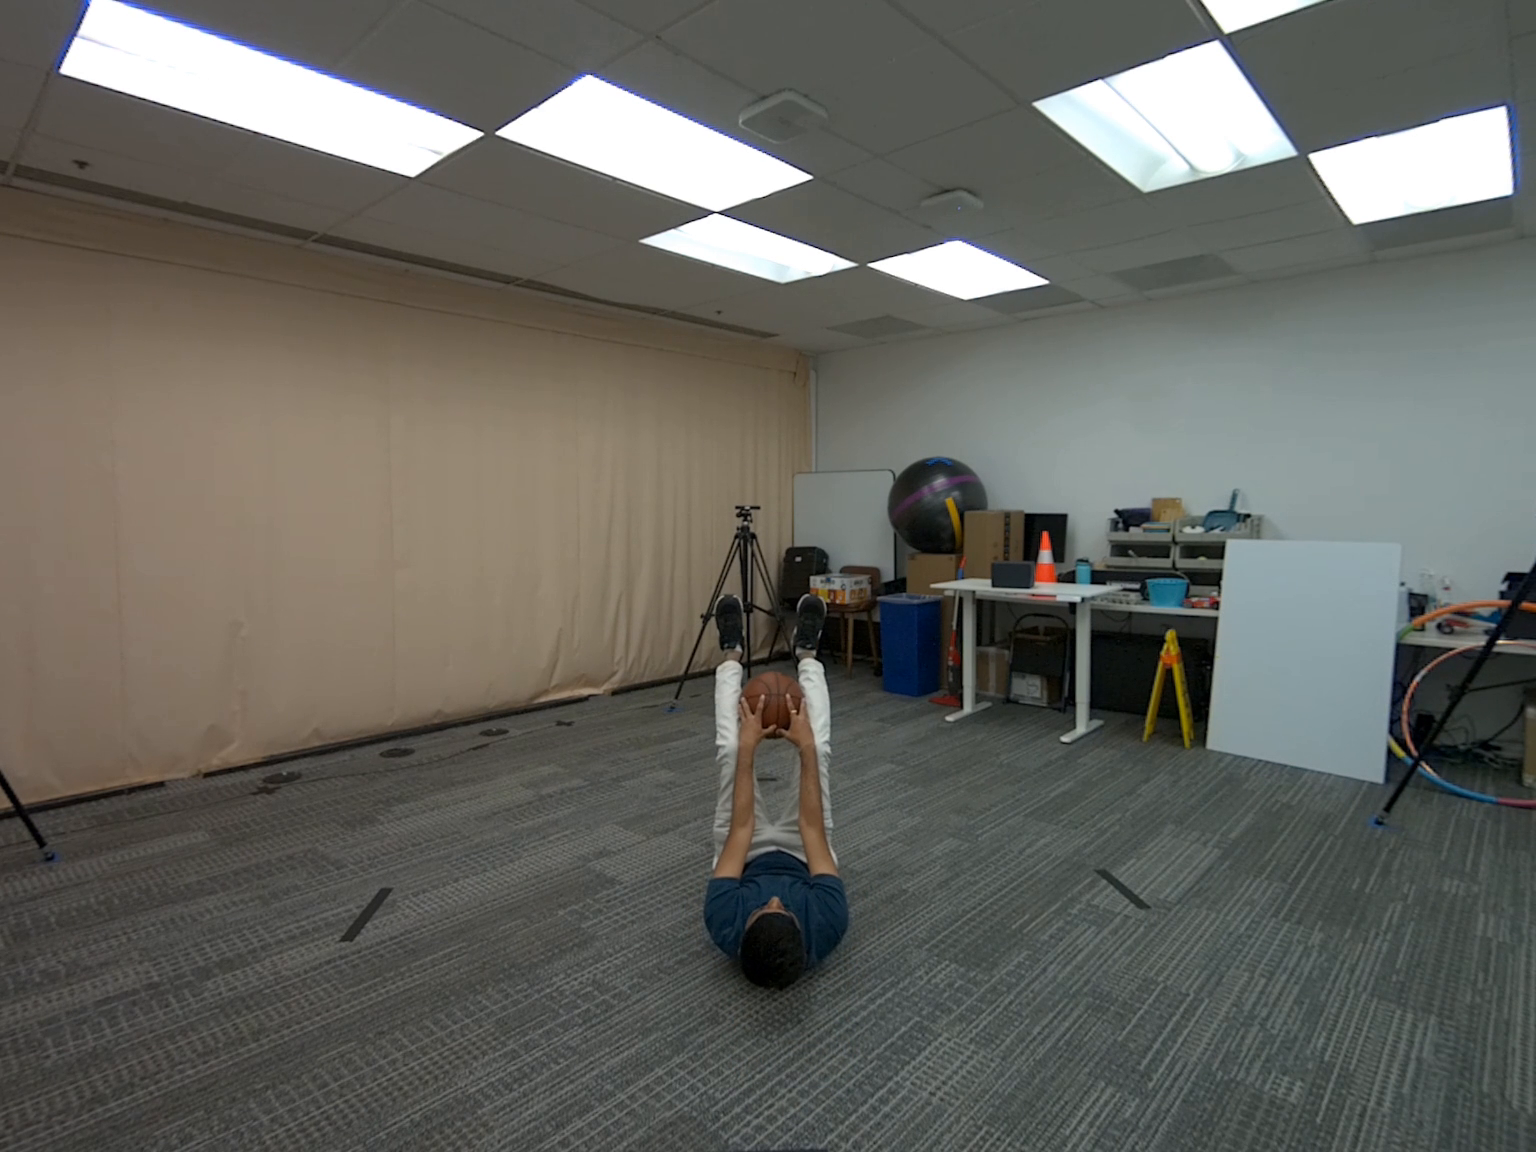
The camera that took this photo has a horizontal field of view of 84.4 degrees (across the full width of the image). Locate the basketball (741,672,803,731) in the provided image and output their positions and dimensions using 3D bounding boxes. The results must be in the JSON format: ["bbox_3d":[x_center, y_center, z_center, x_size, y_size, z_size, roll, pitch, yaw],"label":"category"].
[{"bbox_3d":[0.022,0.458,3.016,0.236,0.235,0.237,0,4,-2],"label":"basketball"}]
